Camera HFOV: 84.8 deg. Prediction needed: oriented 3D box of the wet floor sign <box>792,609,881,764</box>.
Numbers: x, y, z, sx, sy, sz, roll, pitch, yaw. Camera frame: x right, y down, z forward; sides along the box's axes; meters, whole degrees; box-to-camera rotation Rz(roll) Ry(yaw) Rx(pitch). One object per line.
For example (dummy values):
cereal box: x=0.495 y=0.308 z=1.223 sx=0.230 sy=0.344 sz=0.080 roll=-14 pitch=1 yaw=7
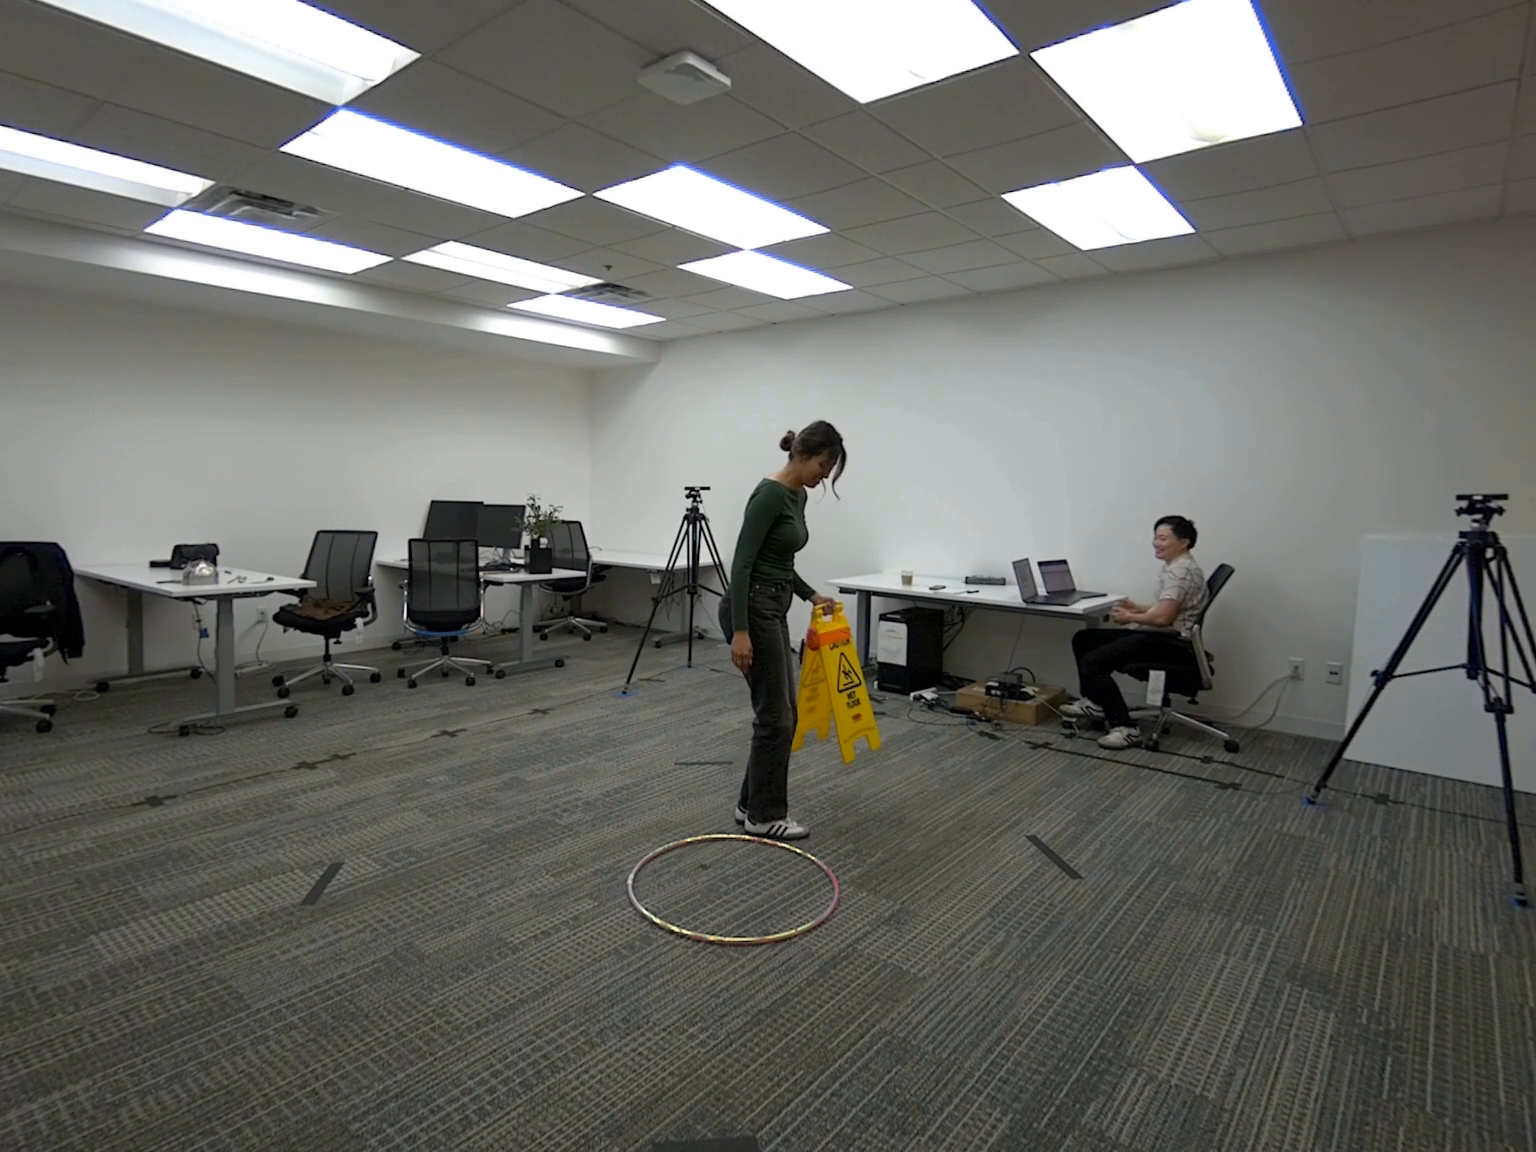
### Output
wet floor sign: x=0.268 y=0.435 z=3.700 sx=0.299 sy=0.643 sz=0.274 roll=0 pitch=6 yaw=41
